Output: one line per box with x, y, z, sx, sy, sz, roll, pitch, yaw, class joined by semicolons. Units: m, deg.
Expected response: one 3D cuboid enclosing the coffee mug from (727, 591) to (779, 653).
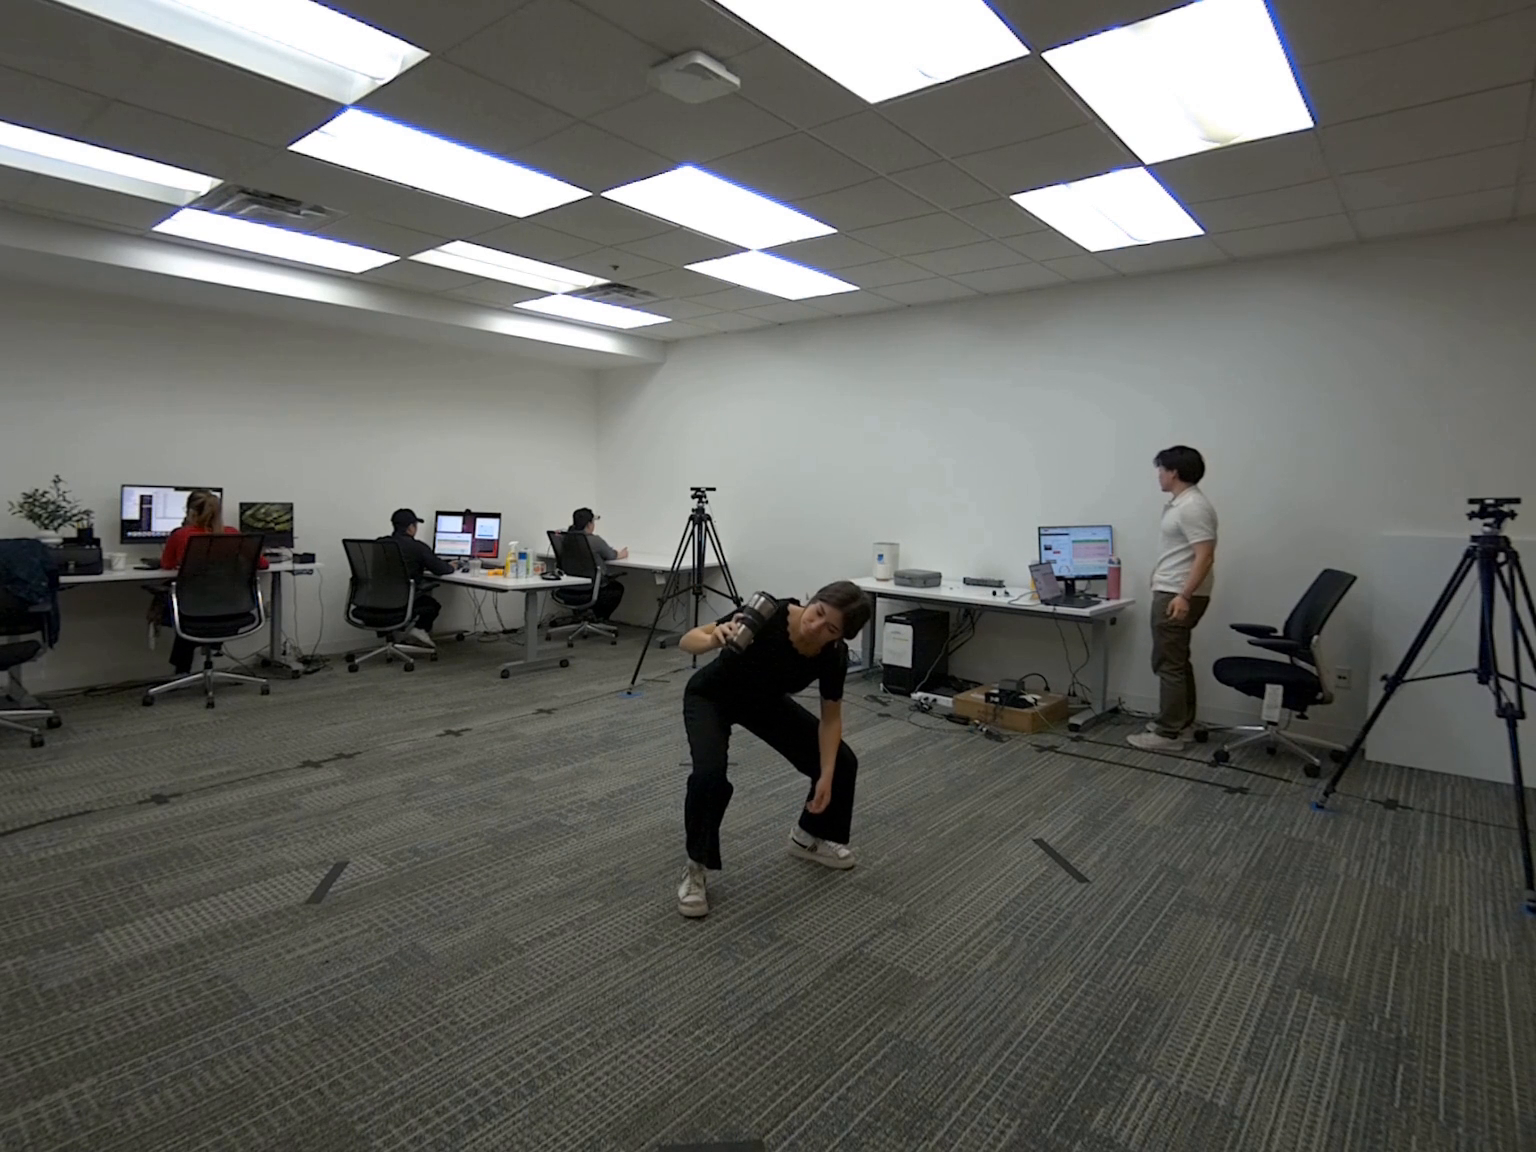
-0.044;0.147;2.636;0.124;0.203;0.086;35;-23;12;coffee mug
